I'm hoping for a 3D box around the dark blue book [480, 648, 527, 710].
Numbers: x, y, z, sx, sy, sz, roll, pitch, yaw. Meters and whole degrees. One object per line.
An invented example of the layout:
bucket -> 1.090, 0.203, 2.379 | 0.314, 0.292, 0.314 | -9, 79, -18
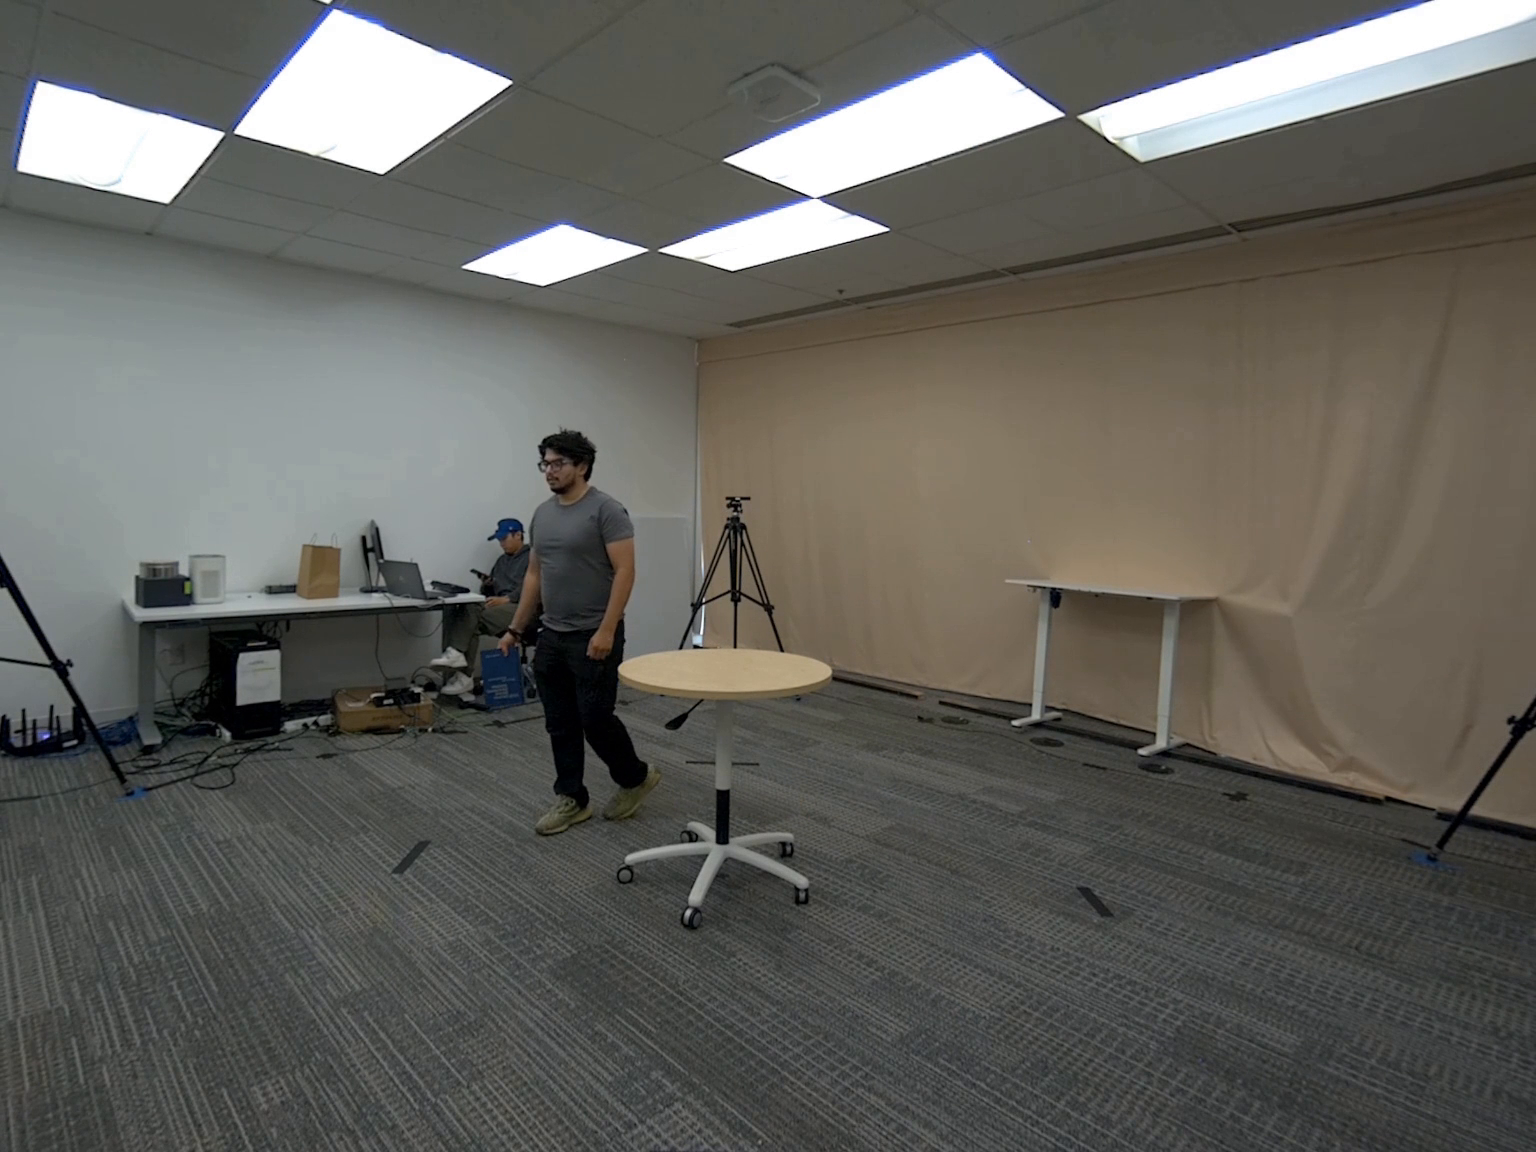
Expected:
dark blue book -> -1.144, 0.428, 3.620 | 0.162, 0.246, 0.045 | -7, -7, -6
